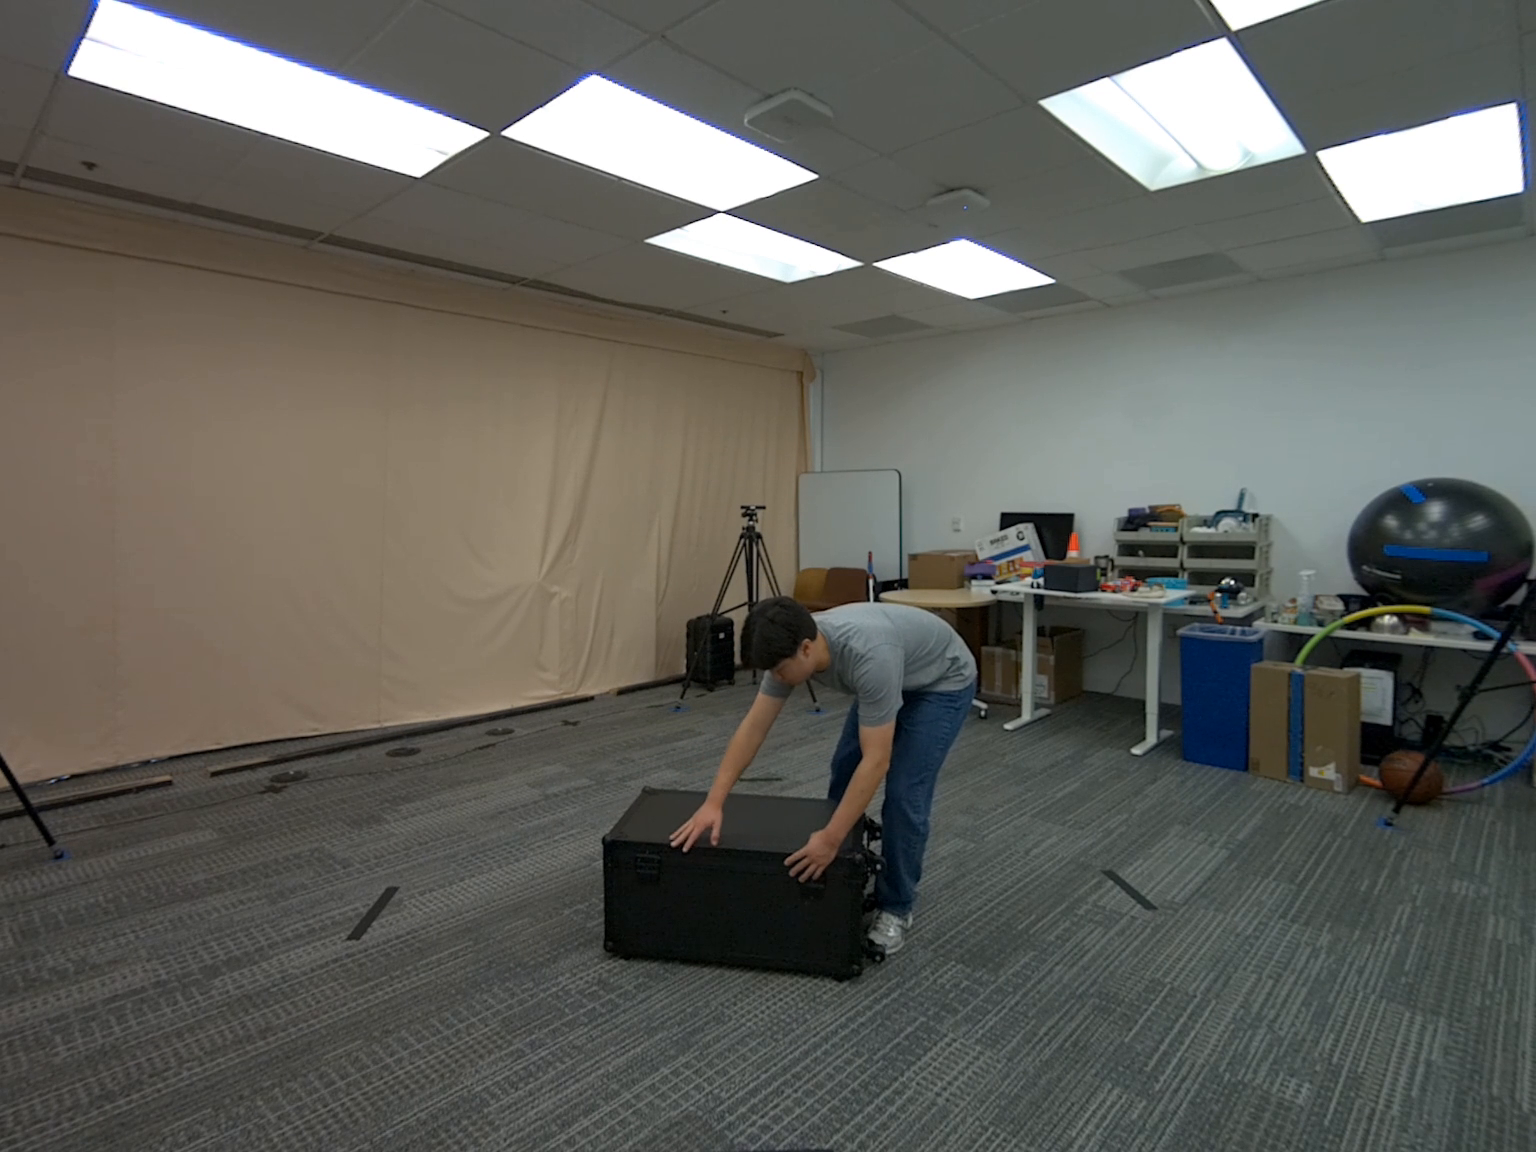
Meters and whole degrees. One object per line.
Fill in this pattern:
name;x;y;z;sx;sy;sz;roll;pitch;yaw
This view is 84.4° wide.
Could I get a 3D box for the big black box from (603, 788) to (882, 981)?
big black box;-0.059;0.973;2.735;0.871;0.395;0.516;1;4;10
